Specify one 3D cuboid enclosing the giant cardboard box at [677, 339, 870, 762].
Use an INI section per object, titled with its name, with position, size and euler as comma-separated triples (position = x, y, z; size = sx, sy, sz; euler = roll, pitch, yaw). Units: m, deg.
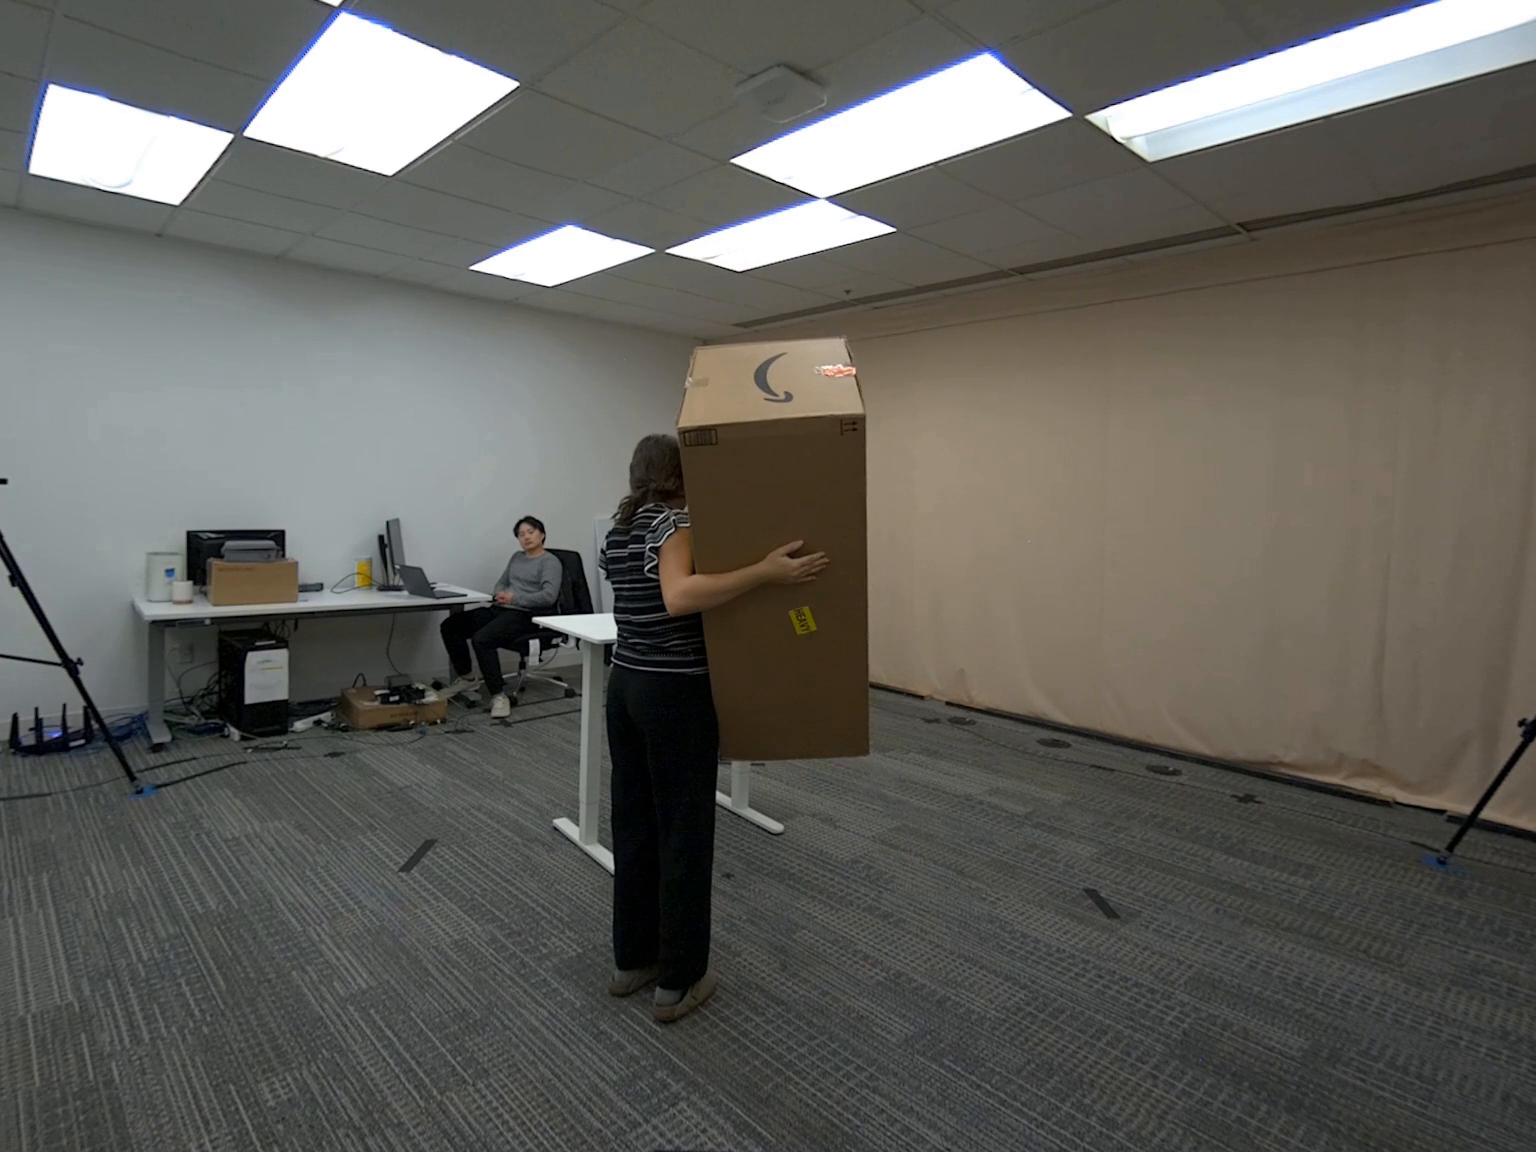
[giant cardboard box]
position = 0.039, -0.067, 2.344
size = 0.428, 1.004, 0.588
euler = -3, 31, 3
